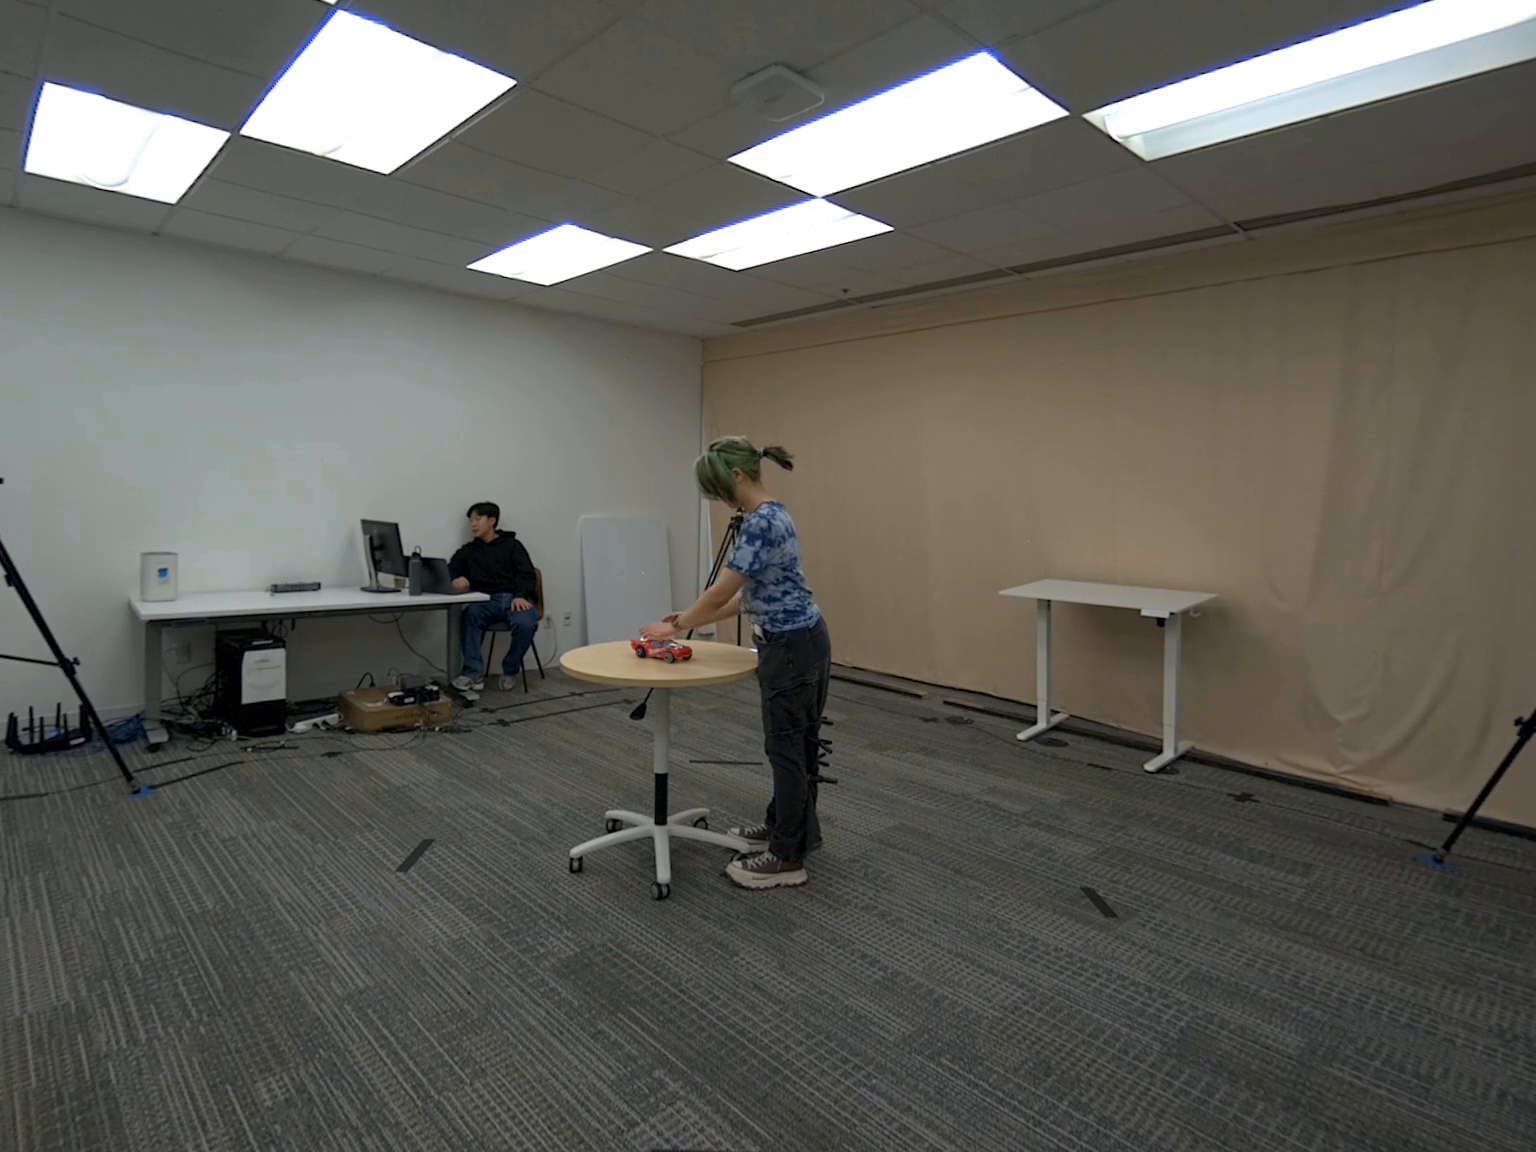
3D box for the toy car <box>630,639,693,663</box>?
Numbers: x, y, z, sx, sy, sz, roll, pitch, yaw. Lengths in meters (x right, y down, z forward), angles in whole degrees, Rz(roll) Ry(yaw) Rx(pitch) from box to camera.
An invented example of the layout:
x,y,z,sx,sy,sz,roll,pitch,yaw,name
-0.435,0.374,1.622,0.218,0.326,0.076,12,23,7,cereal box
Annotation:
x,y,z,sx,sy,sz,roll,pitch,yaw,name
-0.413,0.276,3.174,0.262,0.083,0.127,18,14,35,toy car
